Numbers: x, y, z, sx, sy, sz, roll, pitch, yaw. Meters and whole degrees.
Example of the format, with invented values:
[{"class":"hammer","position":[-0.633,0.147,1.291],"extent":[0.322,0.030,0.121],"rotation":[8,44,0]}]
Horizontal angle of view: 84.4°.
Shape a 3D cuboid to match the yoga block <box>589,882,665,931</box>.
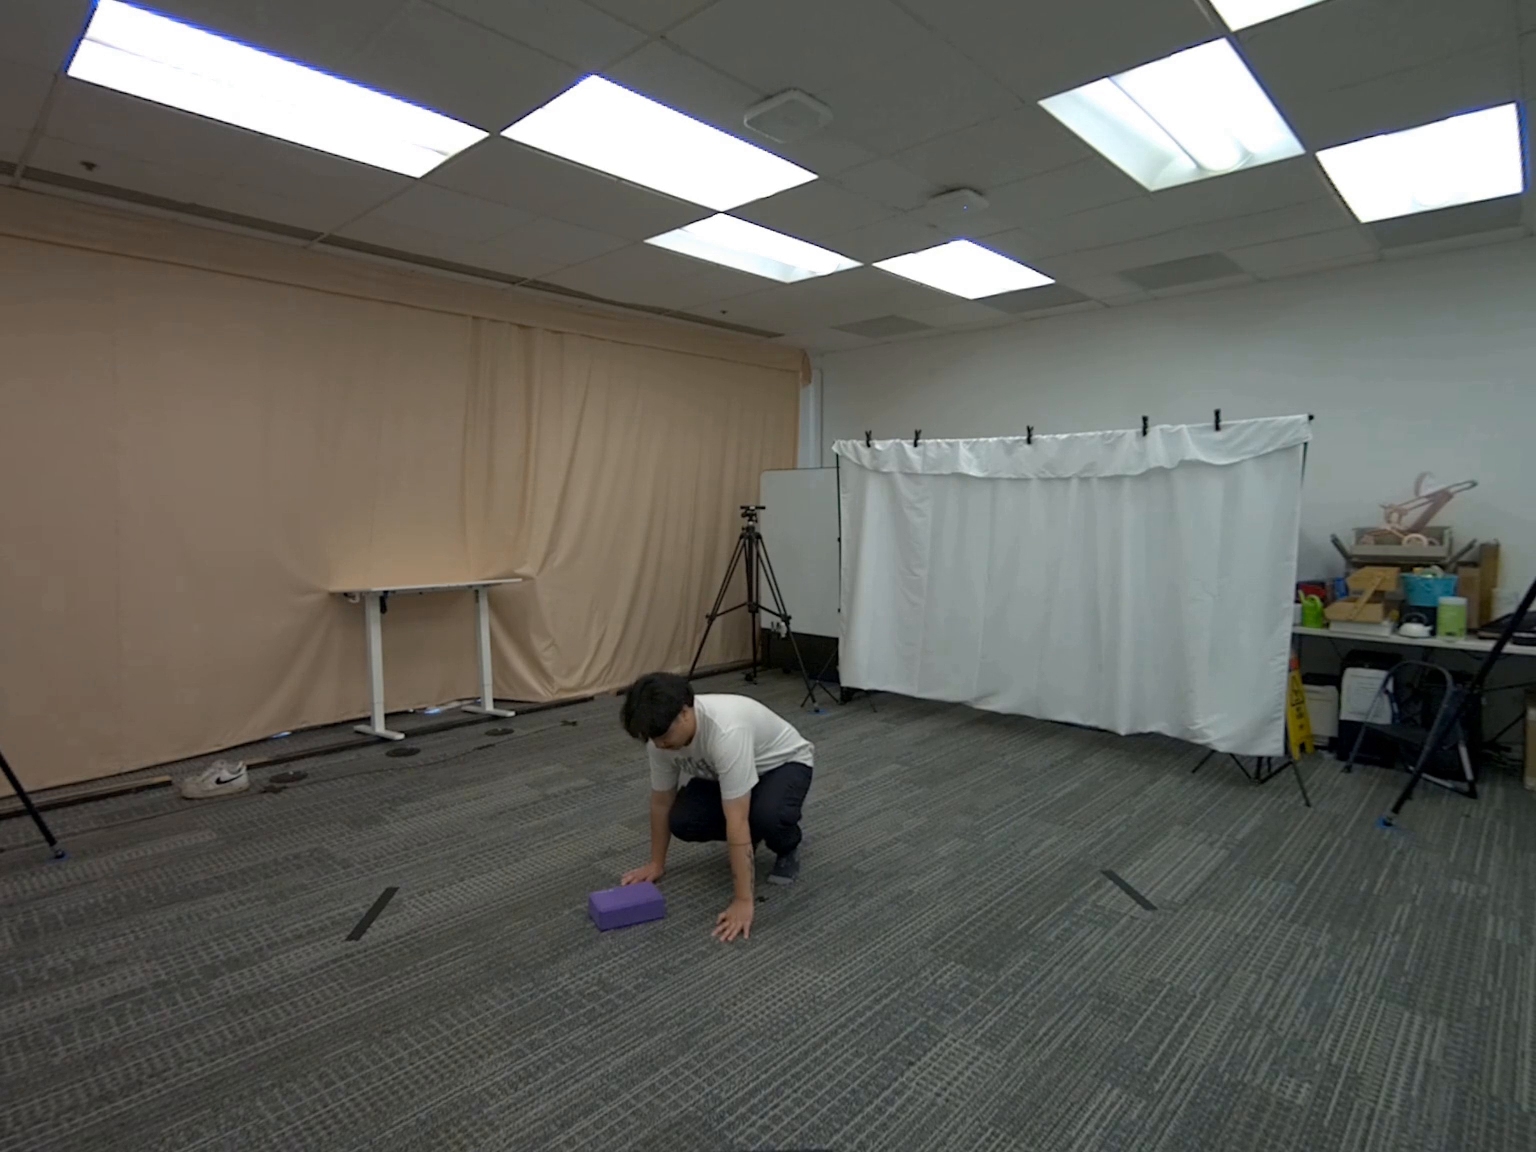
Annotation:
[{"class":"yoga block","position":[-0.482,1.123,2.863],"extent":[0.224,0.076,0.153],"rotation":[-3,5,-24]}]
